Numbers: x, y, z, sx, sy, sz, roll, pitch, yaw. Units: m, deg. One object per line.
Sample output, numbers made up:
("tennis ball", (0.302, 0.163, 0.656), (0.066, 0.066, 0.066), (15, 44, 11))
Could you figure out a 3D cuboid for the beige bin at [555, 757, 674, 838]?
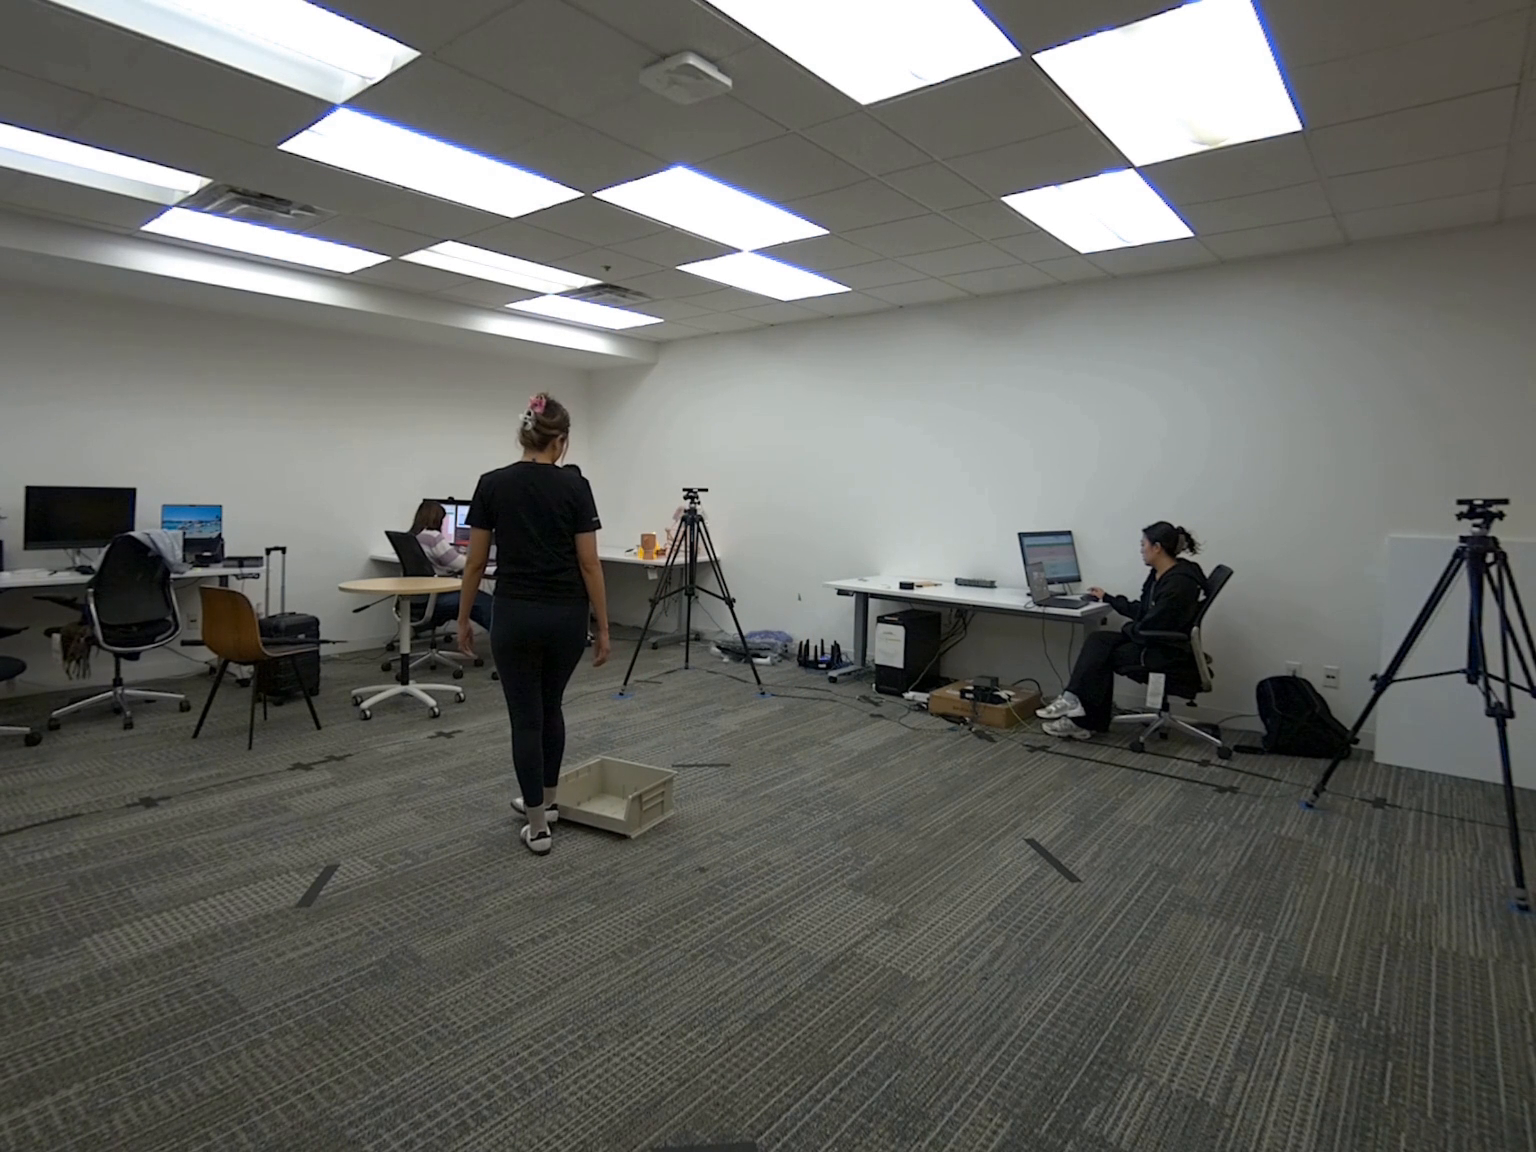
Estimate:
("beige bin", (-0.667, 0.928, 3.588), (0.434, 0.188, 0.368), (3, 5, 28))
